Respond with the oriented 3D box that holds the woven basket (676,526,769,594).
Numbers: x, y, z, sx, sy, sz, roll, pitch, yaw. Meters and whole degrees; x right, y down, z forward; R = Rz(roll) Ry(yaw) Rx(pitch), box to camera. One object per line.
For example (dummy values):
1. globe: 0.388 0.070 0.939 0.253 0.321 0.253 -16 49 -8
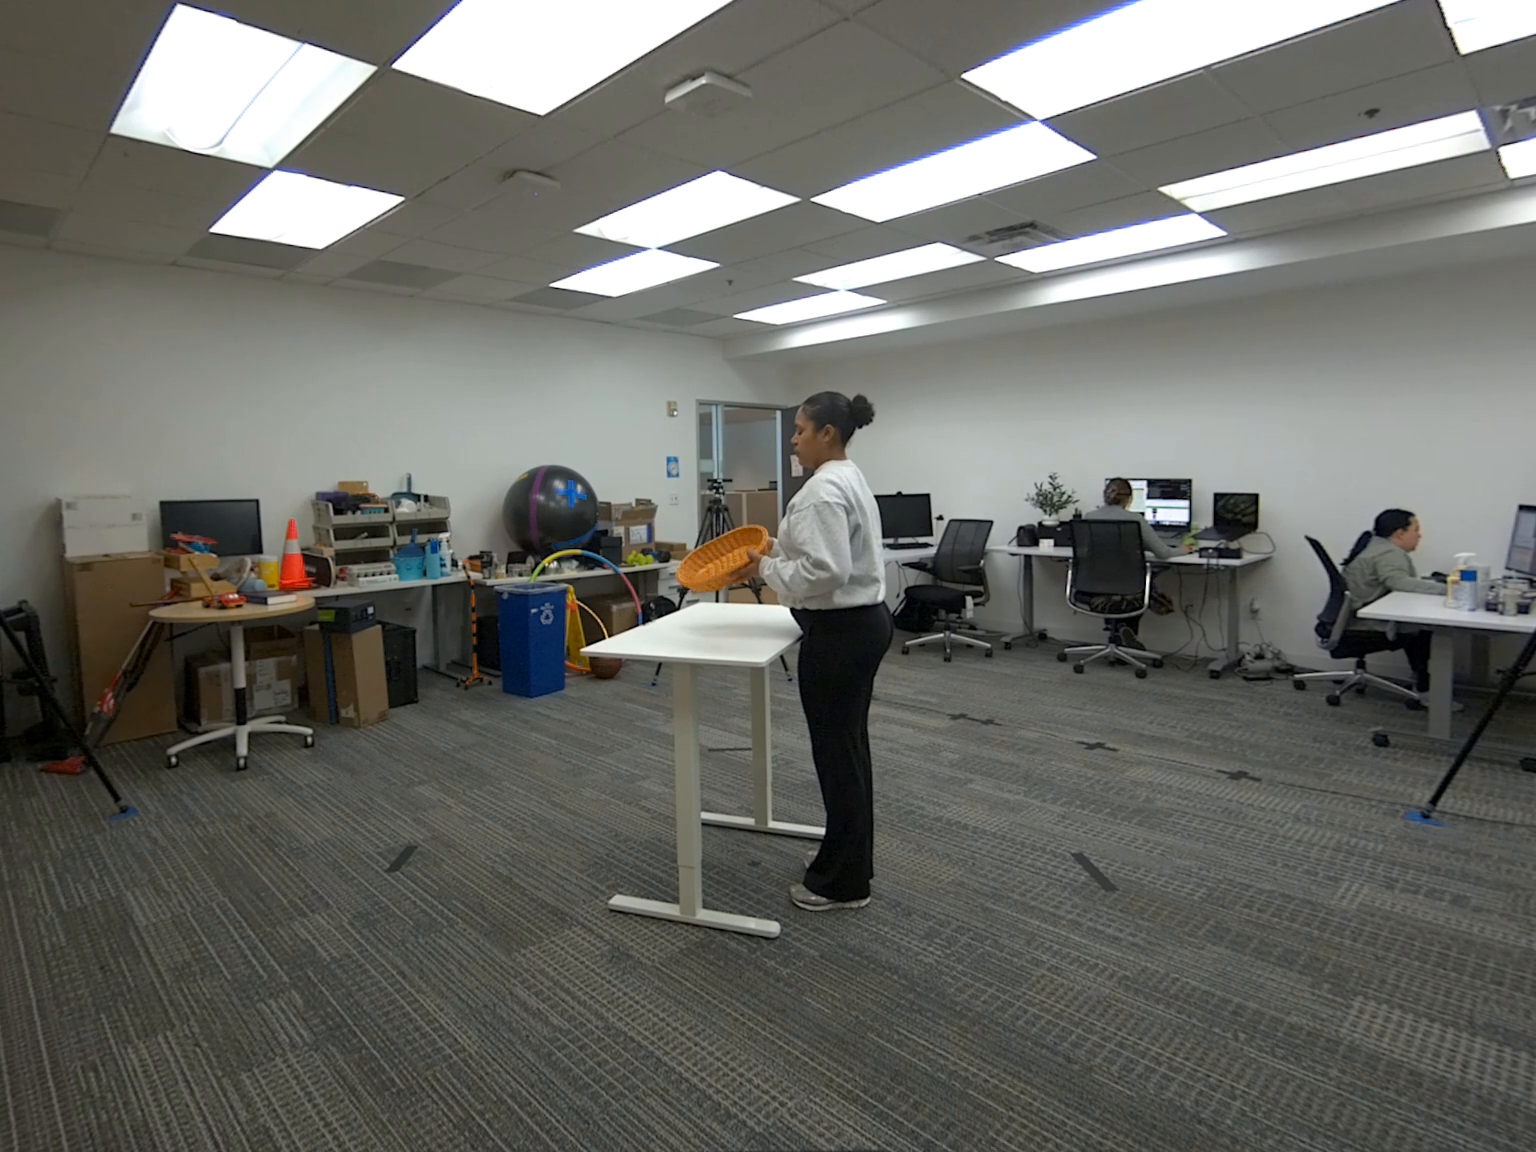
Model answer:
1. woven basket: -0.140 -0.056 2.872 0.352 0.071 0.259 -25 30 8
